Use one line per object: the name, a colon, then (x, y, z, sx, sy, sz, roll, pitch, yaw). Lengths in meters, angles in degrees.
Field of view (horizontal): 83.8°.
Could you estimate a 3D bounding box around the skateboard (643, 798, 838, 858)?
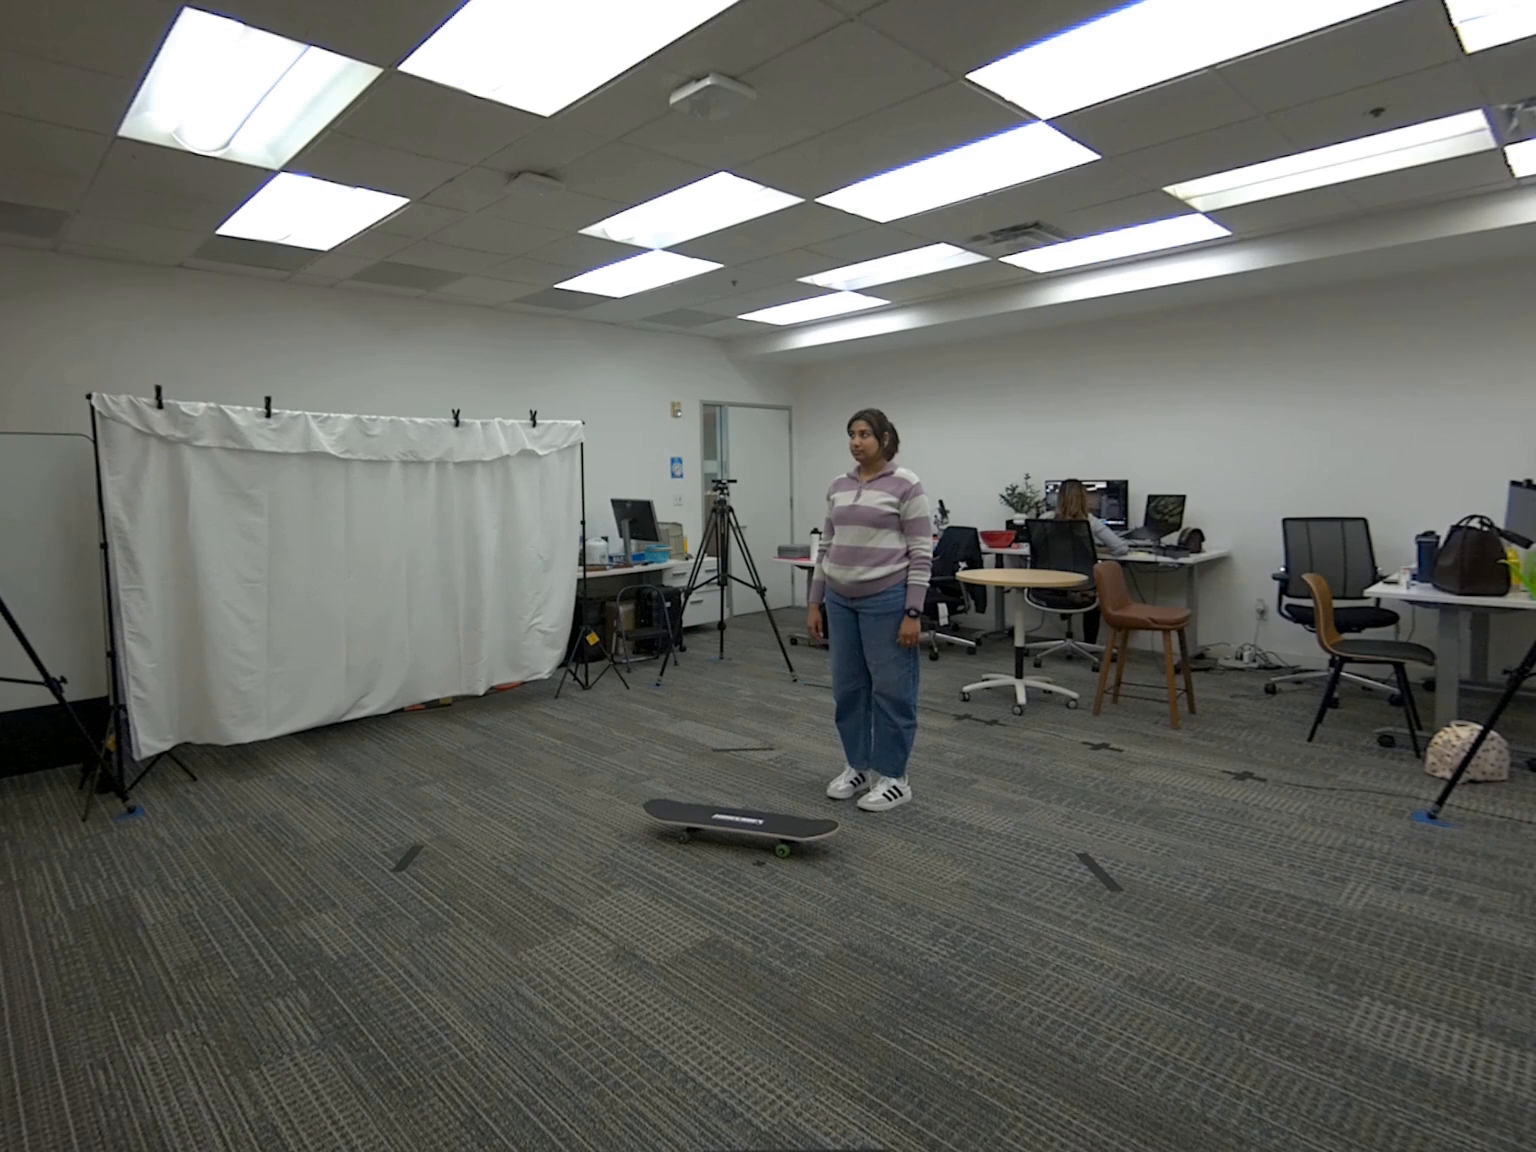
skateboard: (-0.111, 0.970, 3.298, 0.800, 0.110, 0.191, 1, 6, 19)
